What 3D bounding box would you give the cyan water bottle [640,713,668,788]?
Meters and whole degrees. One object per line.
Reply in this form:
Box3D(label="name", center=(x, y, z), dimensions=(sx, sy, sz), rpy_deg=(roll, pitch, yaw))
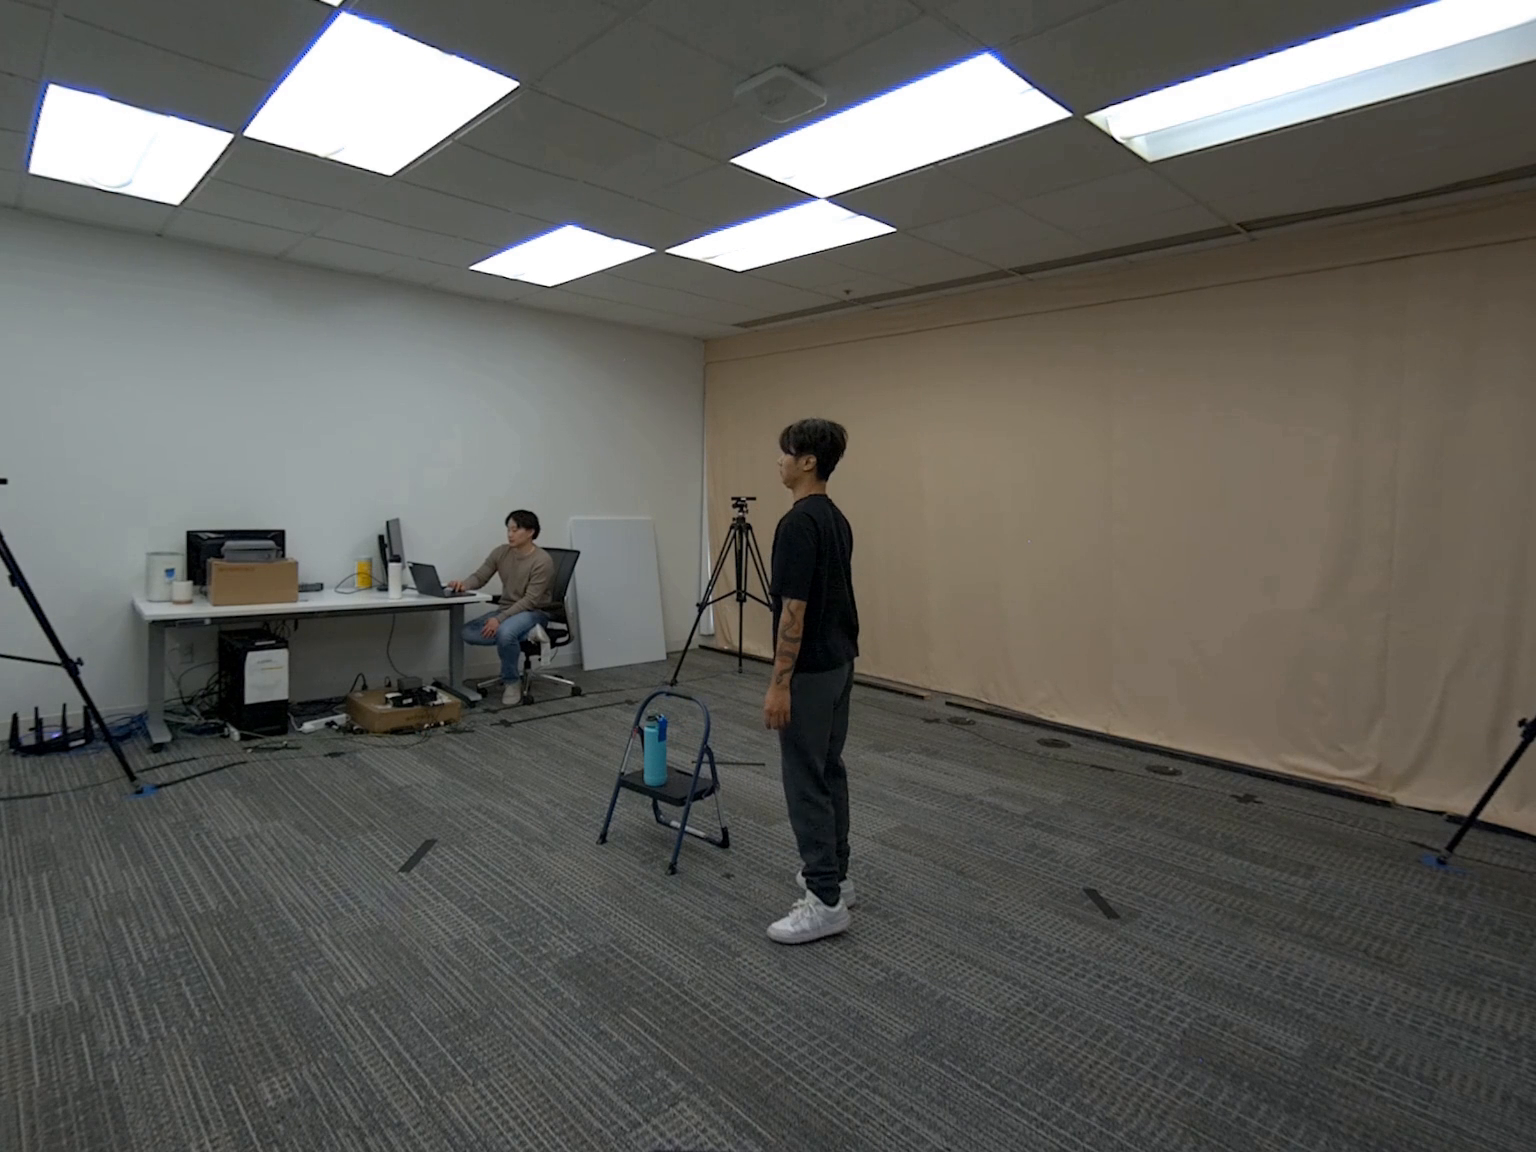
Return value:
Box3D(label="cyan water bottle", center=(-0.455, 0.682, 3.336), dimensions=(0.092, 0.283, 0.092), rpy_deg=(0, 2, -1))
